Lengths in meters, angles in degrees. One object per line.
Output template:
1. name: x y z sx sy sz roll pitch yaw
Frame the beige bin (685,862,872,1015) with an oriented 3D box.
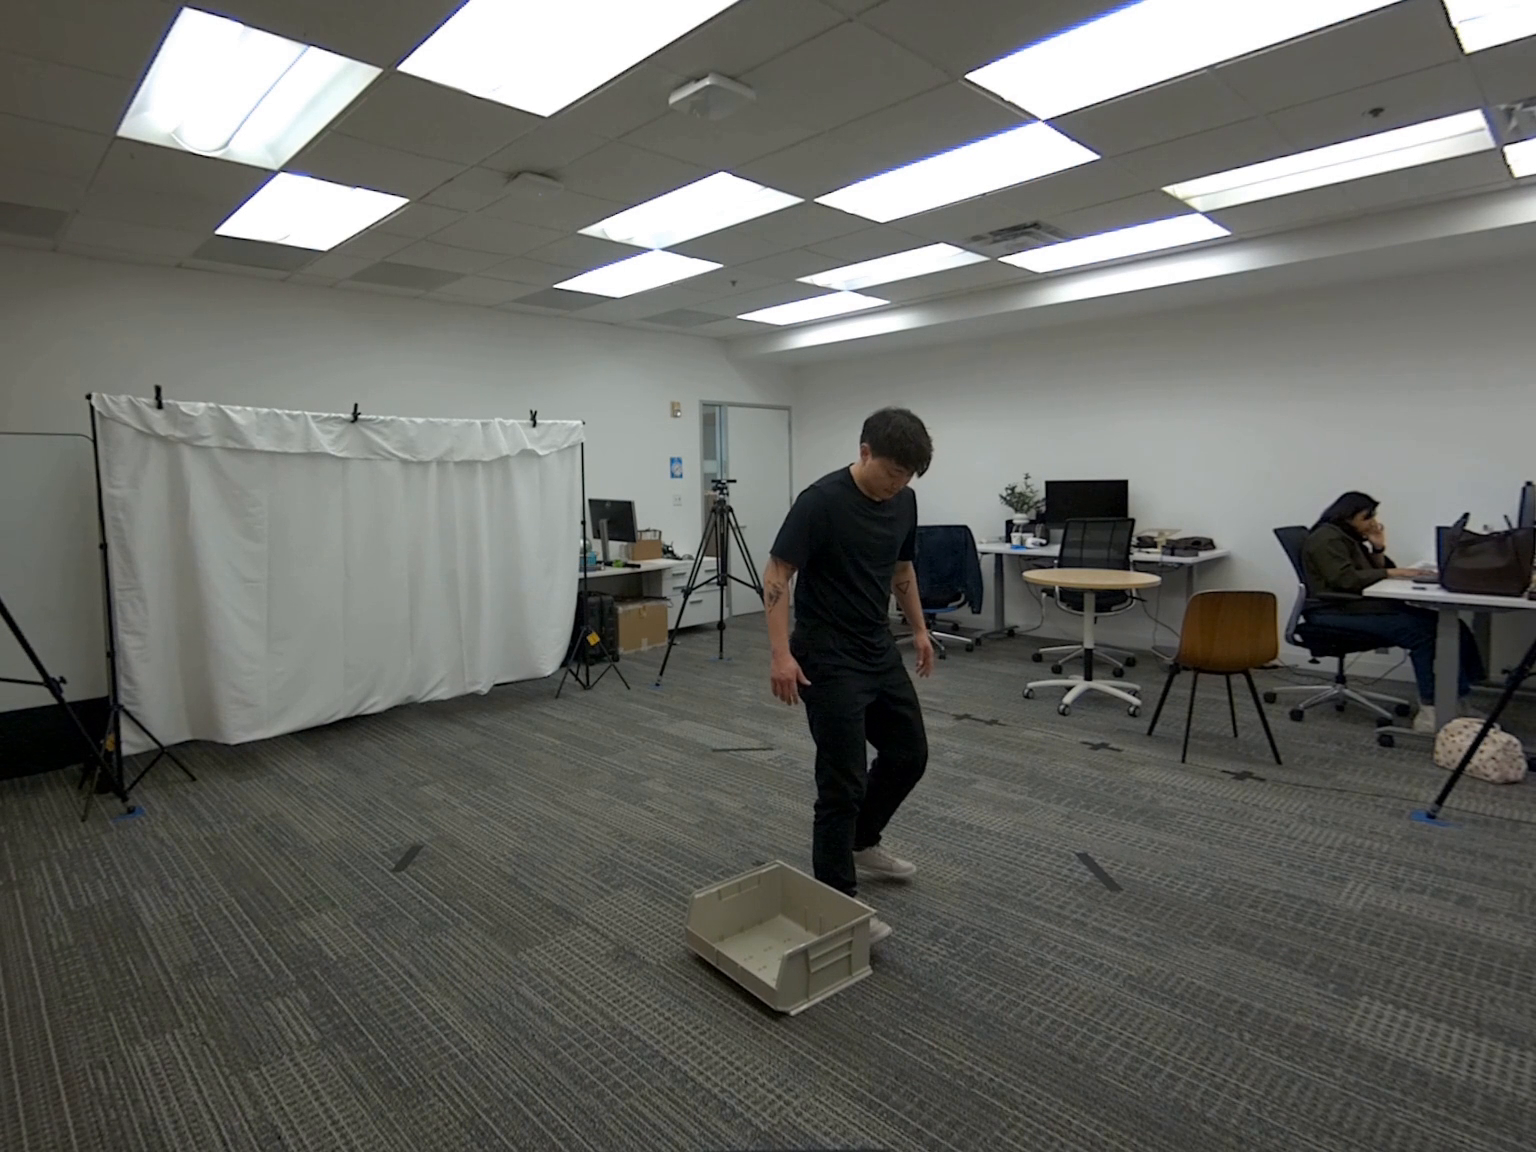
1. beige bin: 0.032 1.036 2.458 0.367 0.188 0.435 -5 7 -39
